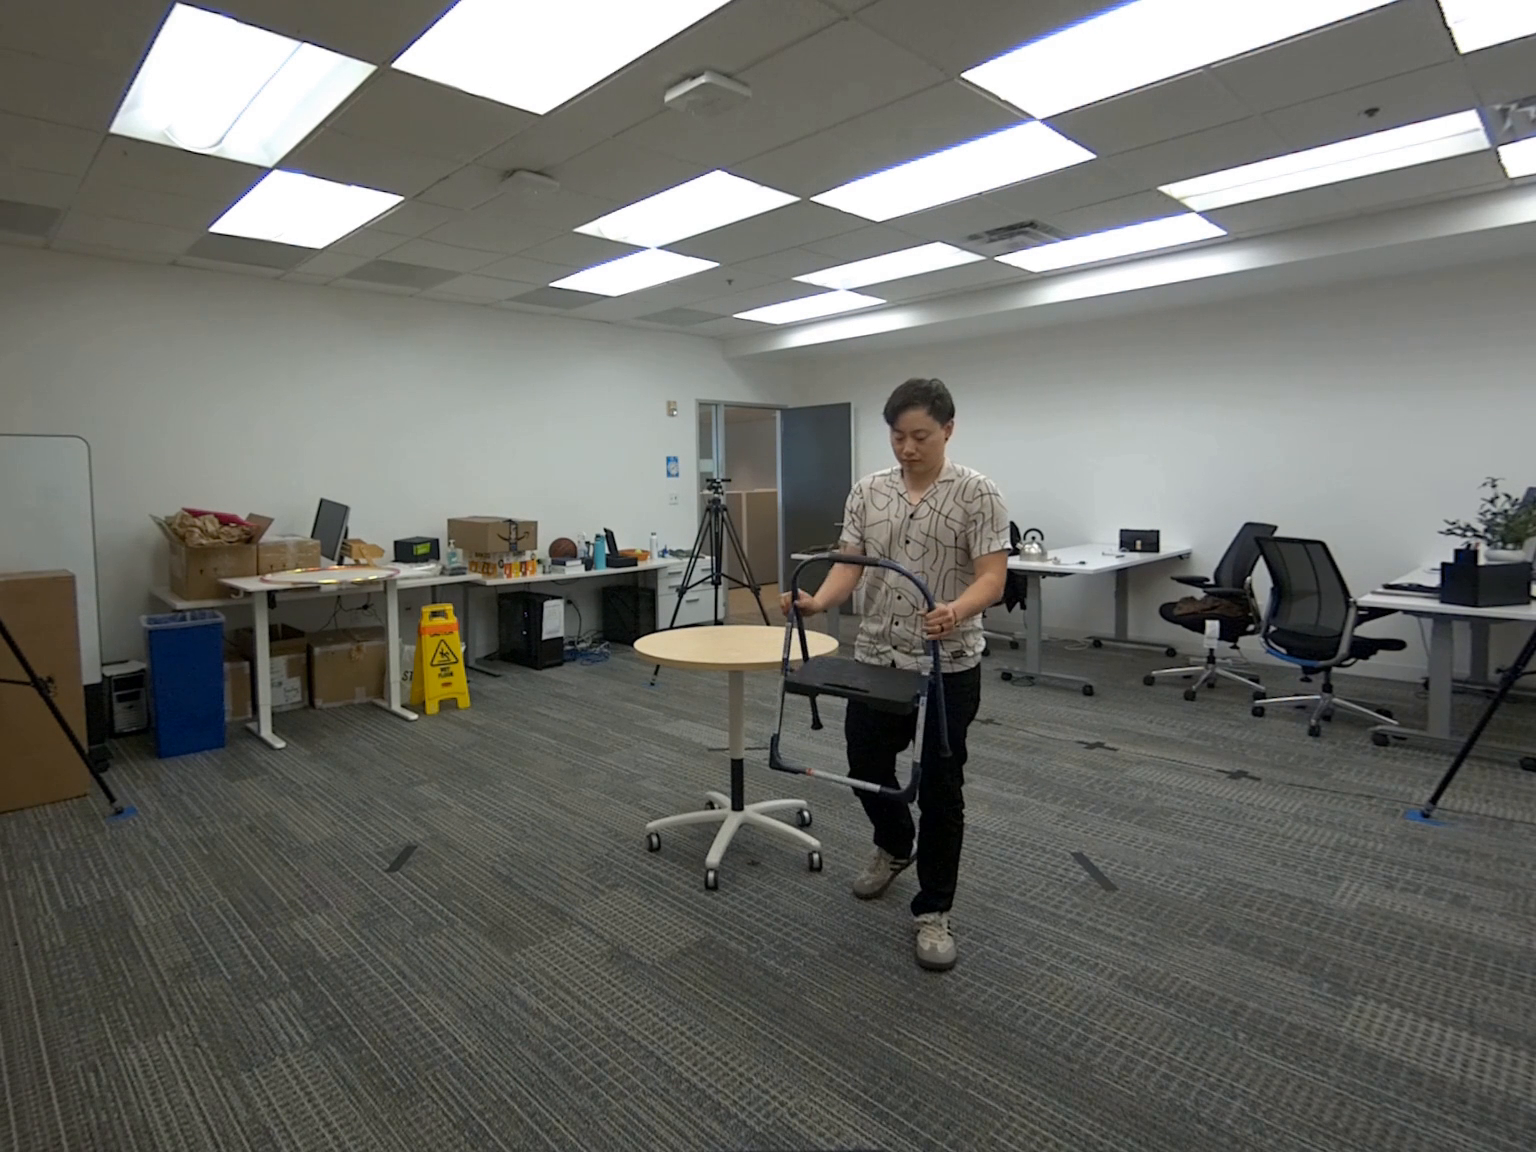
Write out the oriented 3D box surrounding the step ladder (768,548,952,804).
[{"bbox_3d":[0.272,0.233,2.348,0.441,0.600,0.344,5,12,26],"label":"step ladder"}]
